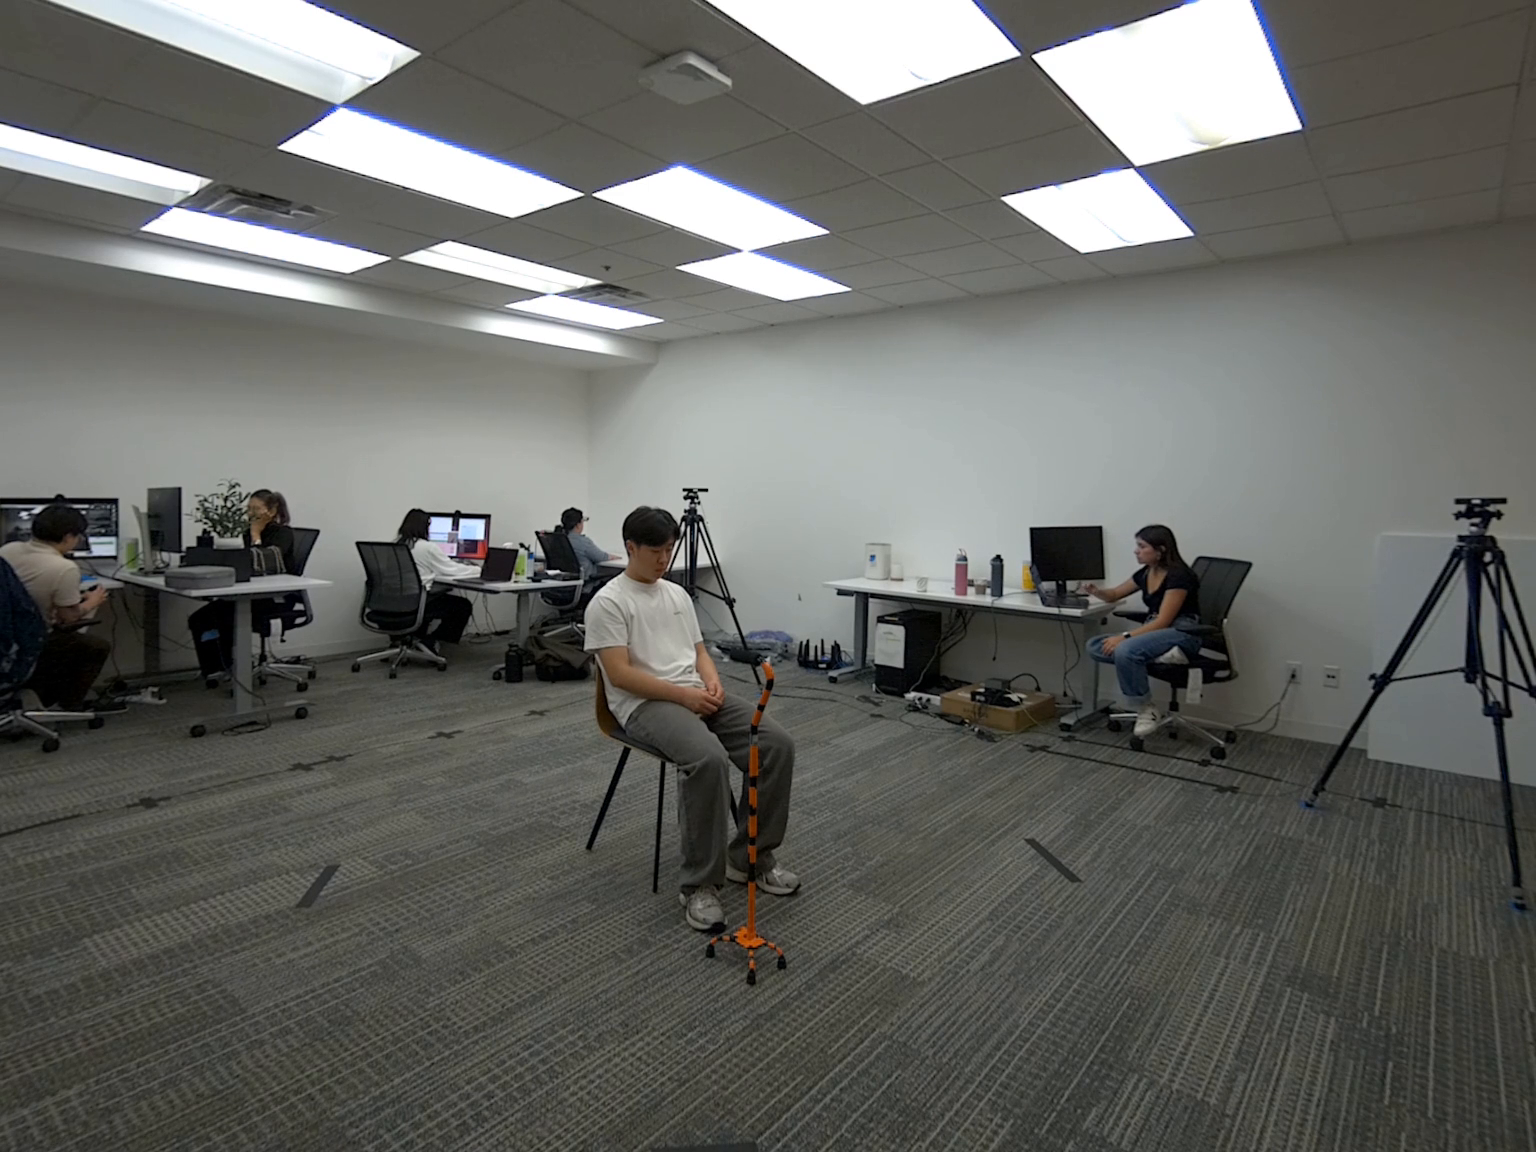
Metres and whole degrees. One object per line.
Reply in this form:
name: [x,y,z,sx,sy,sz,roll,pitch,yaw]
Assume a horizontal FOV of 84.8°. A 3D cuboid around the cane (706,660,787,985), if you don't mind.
cane: [-0.057,0.672,2.478,0.147,0.905,0.213,-2,5,-44]
